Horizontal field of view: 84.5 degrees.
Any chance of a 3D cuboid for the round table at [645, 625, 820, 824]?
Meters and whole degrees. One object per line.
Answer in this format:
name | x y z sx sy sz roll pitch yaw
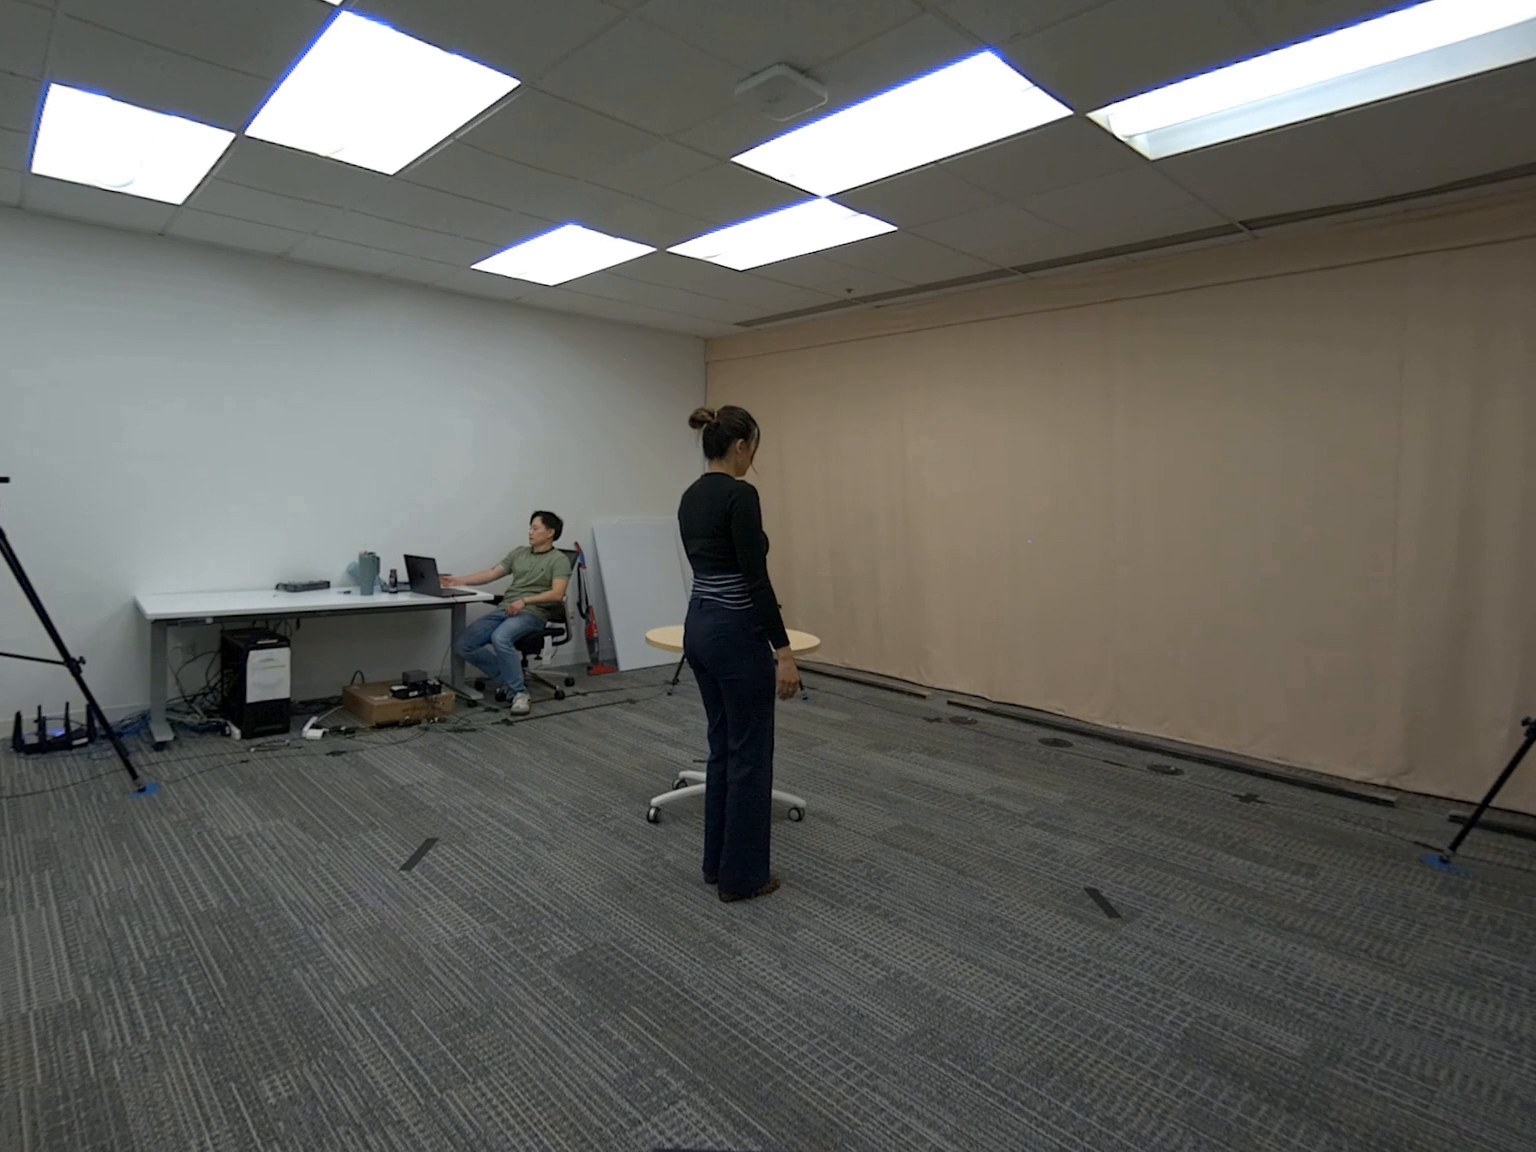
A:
round table | -0.183 0.663 3.717 0.763 0.792 0.766 2 3 -1
